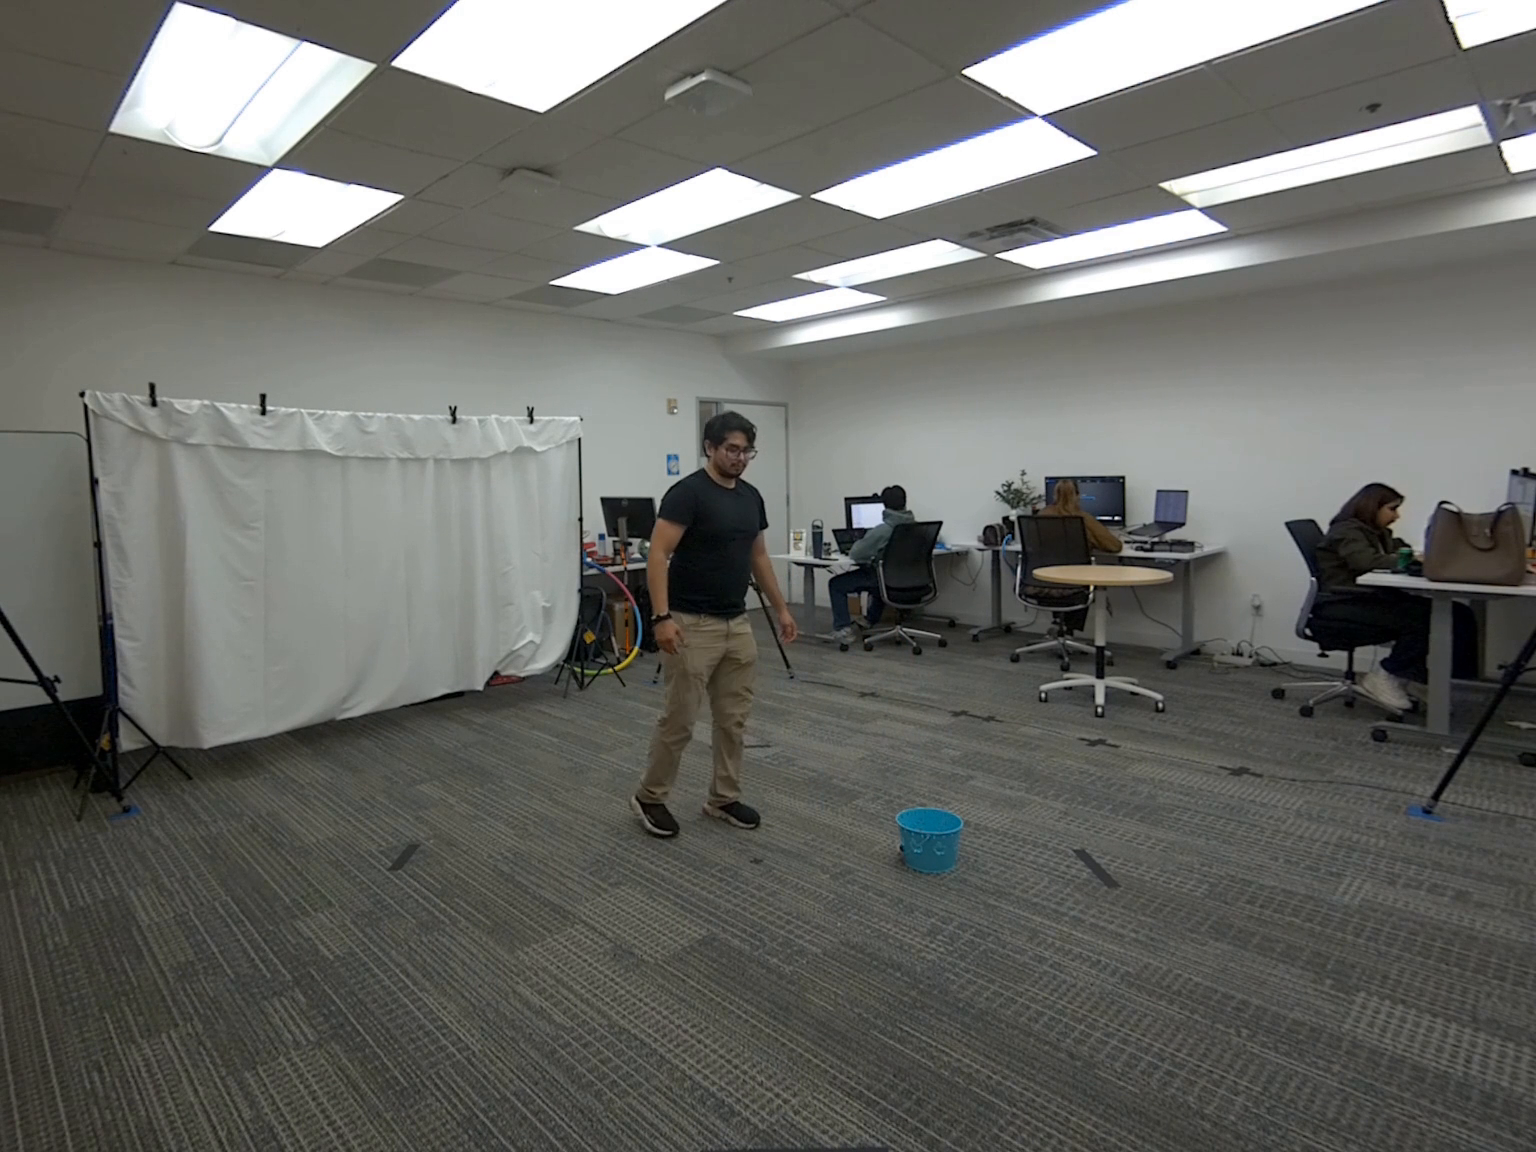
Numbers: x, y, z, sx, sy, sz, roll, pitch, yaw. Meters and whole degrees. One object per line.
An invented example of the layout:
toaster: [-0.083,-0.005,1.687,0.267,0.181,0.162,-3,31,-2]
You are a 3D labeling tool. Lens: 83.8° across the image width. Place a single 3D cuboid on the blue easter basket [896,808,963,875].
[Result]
blue easter basket: [0.581,0.947,3.076,0.243,0.155,0.245,-1,6,-2]
